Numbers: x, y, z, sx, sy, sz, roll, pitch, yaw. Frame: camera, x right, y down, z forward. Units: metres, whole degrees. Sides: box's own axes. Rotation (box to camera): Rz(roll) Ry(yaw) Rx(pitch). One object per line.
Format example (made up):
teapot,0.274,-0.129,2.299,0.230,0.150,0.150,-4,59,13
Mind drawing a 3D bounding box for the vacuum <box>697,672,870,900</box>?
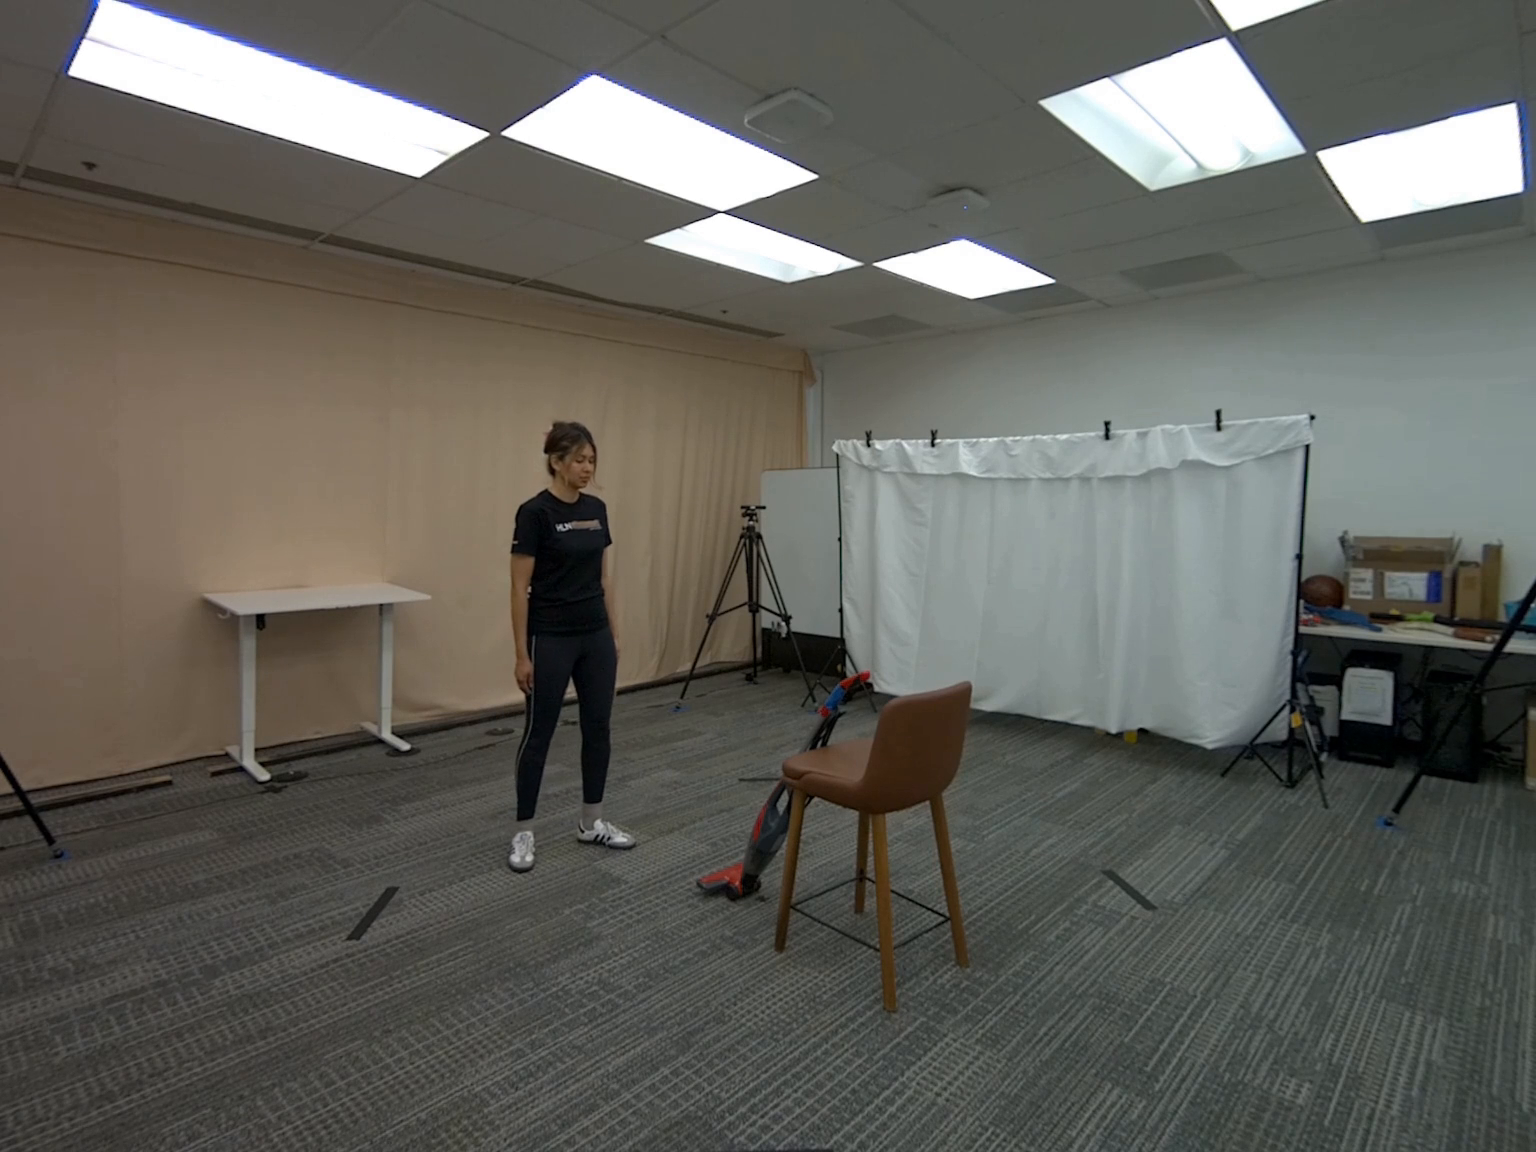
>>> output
vacuum,0.085,0.714,2.817,0.245,1.047,0.148,-7,43,-48
